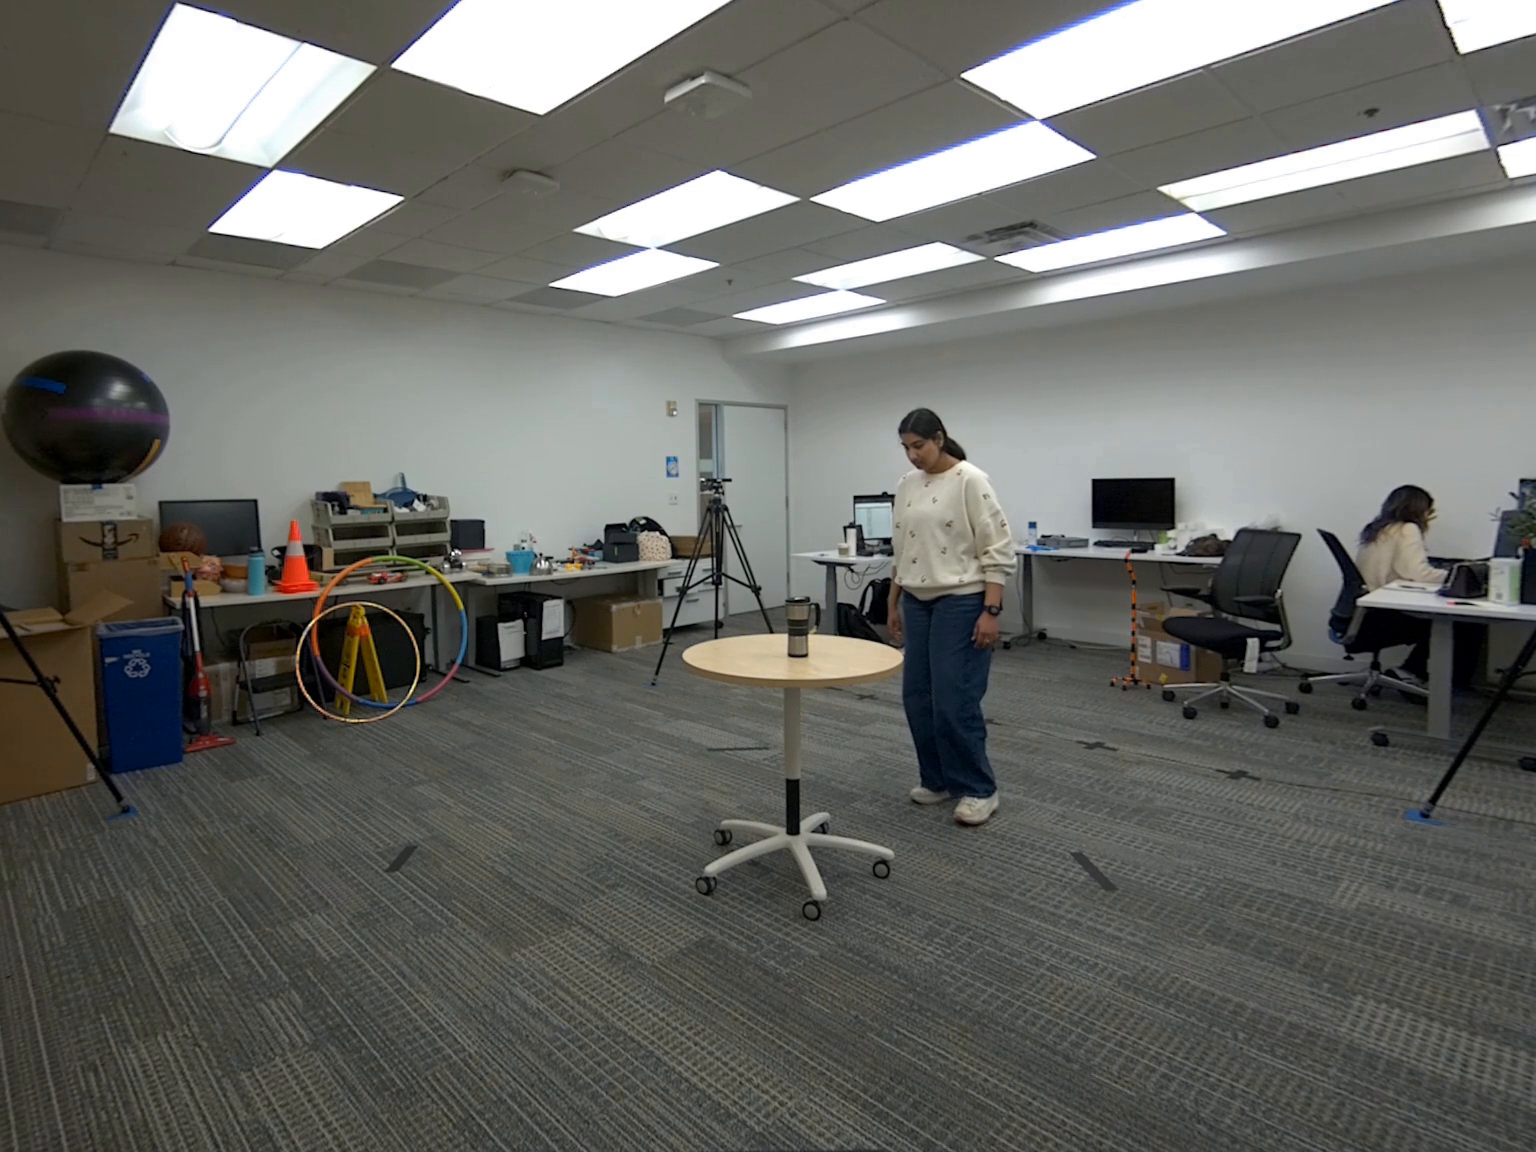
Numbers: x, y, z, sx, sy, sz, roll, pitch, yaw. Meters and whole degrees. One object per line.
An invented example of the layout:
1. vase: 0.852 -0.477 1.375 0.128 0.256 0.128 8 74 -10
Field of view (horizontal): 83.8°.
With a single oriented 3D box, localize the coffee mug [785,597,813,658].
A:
1. coffee mug: 0.127 0.177 2.937 0.124 0.203 0.086 -2 2 17
